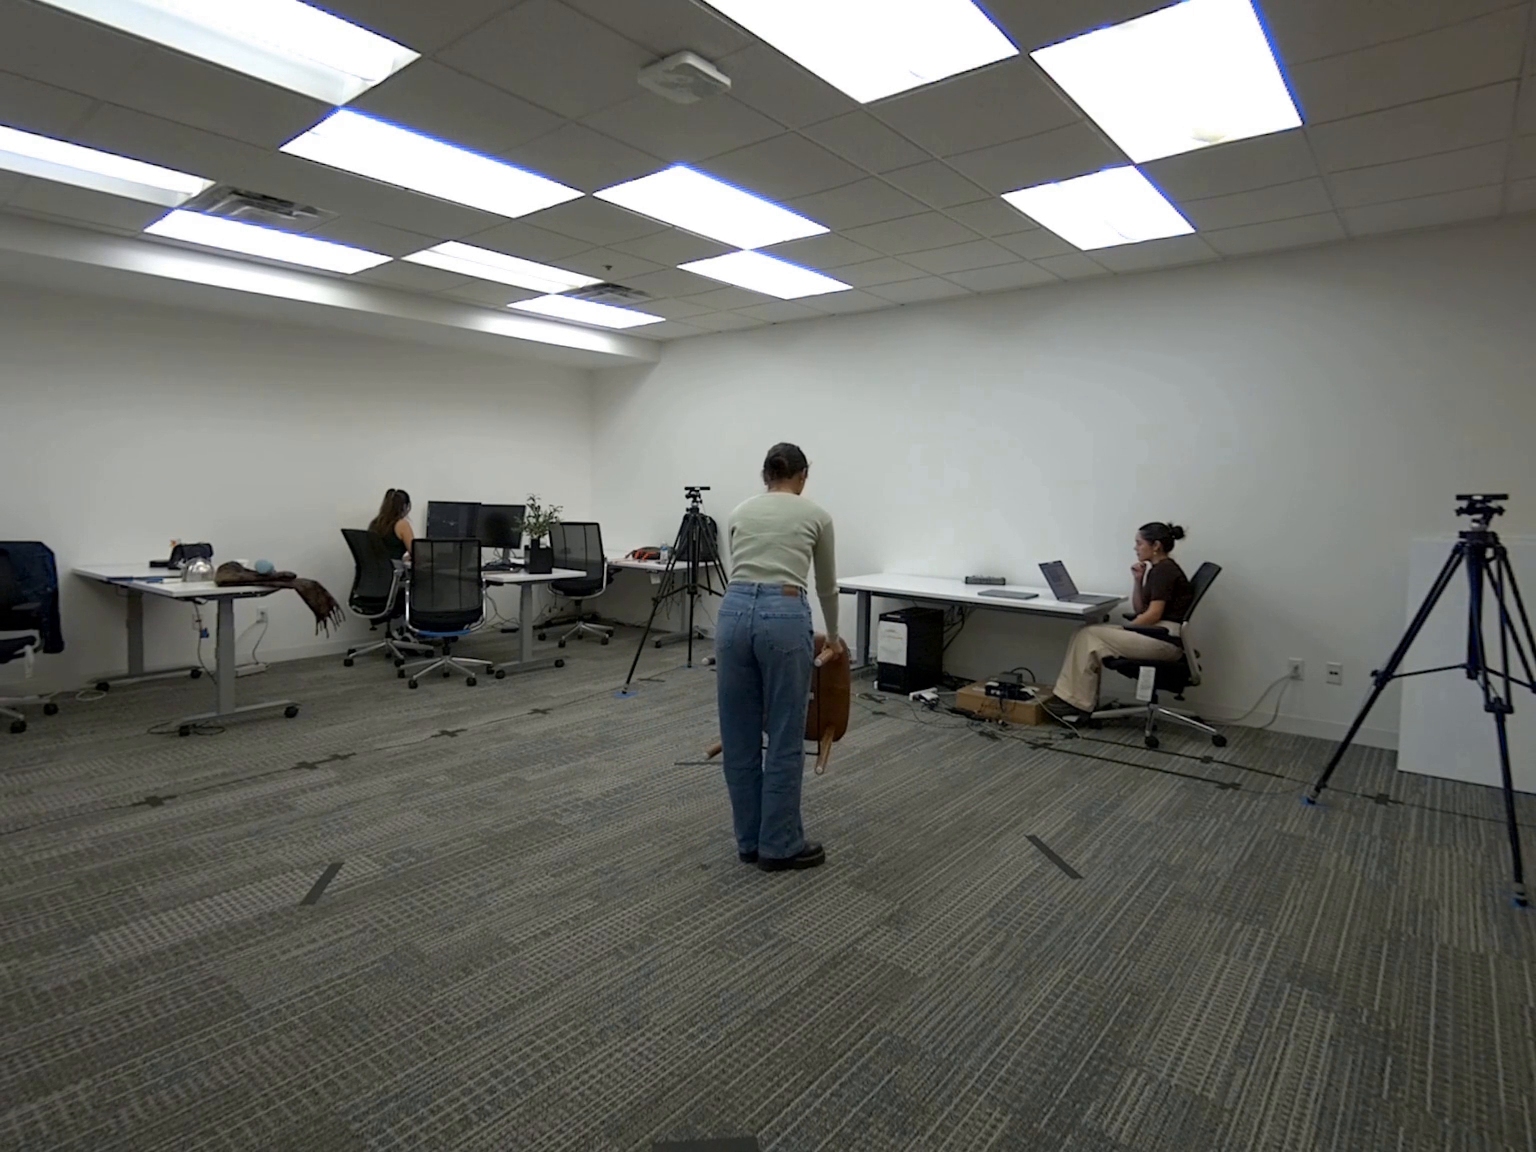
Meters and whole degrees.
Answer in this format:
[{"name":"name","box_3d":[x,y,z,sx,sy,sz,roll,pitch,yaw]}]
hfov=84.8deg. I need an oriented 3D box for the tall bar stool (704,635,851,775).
[{"name":"tall bar stool","box_3d":[0.079,0.468,3.464,0.475,0.456,0.876,0,2,14]}]
